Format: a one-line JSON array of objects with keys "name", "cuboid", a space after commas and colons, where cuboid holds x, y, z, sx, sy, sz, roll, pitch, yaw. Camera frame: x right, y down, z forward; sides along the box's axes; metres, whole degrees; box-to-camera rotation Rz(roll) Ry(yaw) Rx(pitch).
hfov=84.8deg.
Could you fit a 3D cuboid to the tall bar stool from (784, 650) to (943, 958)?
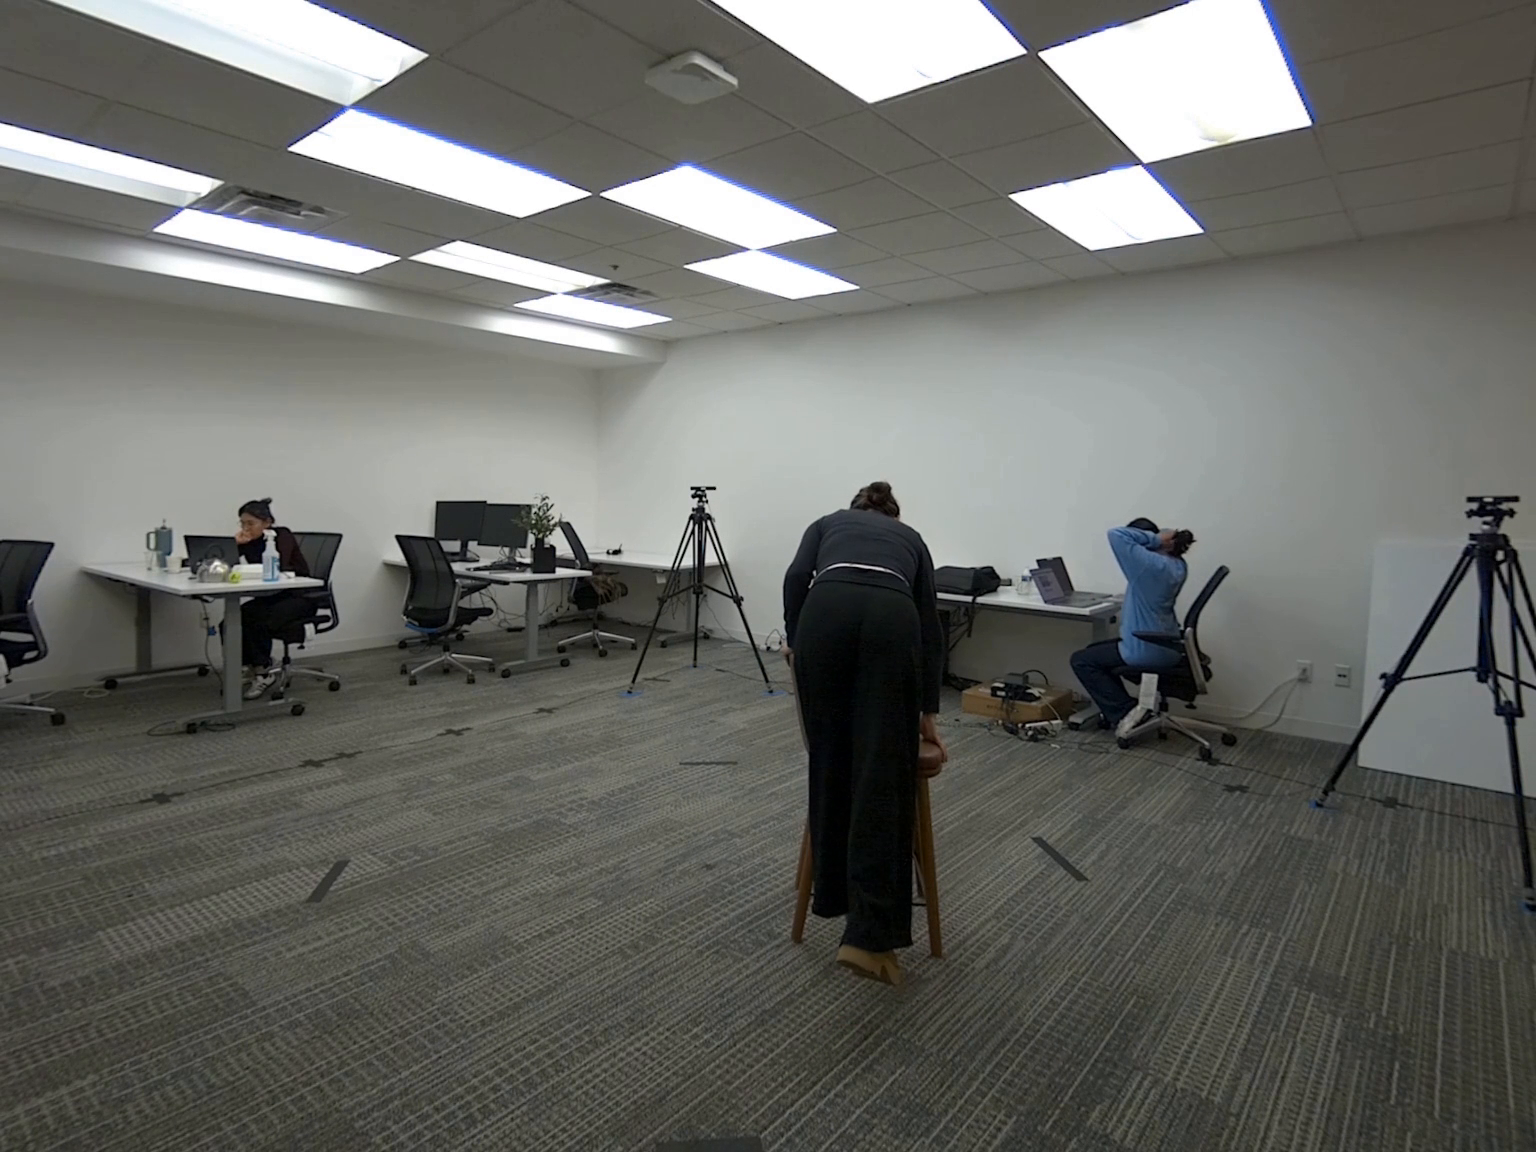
[{"name": "tall bar stool", "cuboid": [0.307, 0.676, 2.747, 0.471, 0.887, 0.455, 0, 3, 6]}]
